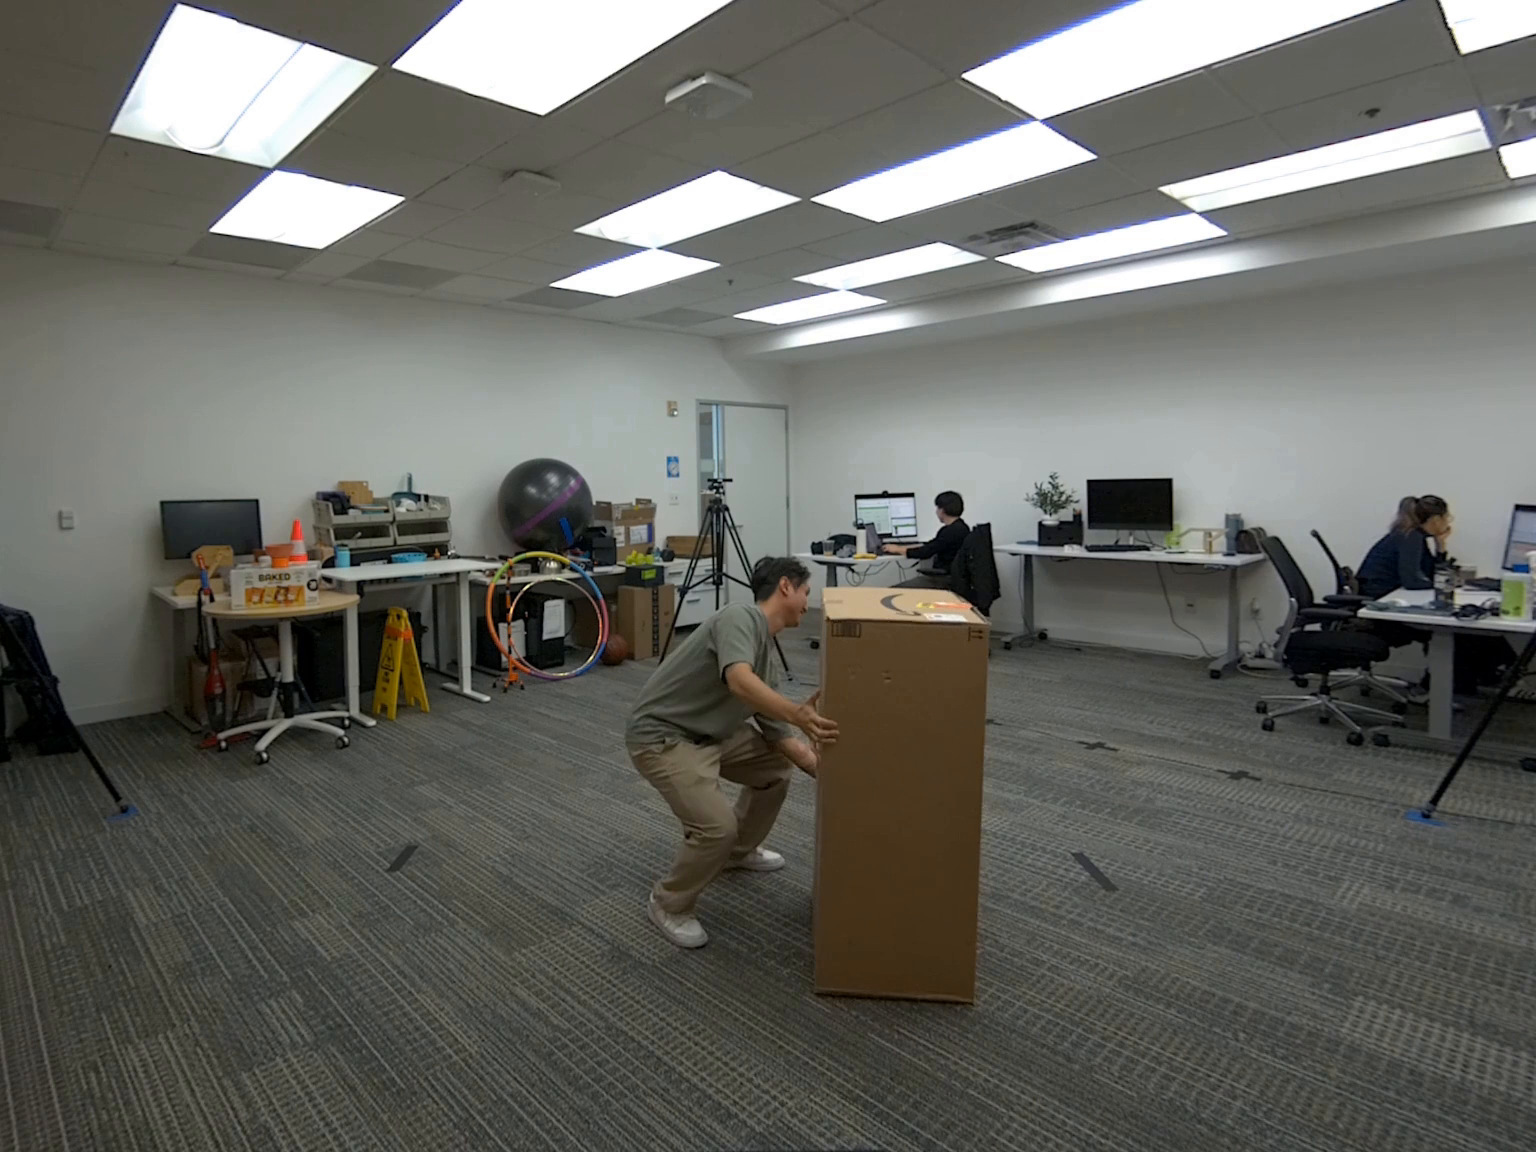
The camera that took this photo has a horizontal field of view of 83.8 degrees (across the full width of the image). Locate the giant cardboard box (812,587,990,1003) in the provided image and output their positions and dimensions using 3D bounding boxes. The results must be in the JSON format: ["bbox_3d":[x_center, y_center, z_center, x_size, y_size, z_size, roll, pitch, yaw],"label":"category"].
[{"bbox_3d":[0.365,0.589,2.518,0.428,1.022,0.577,1,5,4],"label":"giant cardboard box"}]
